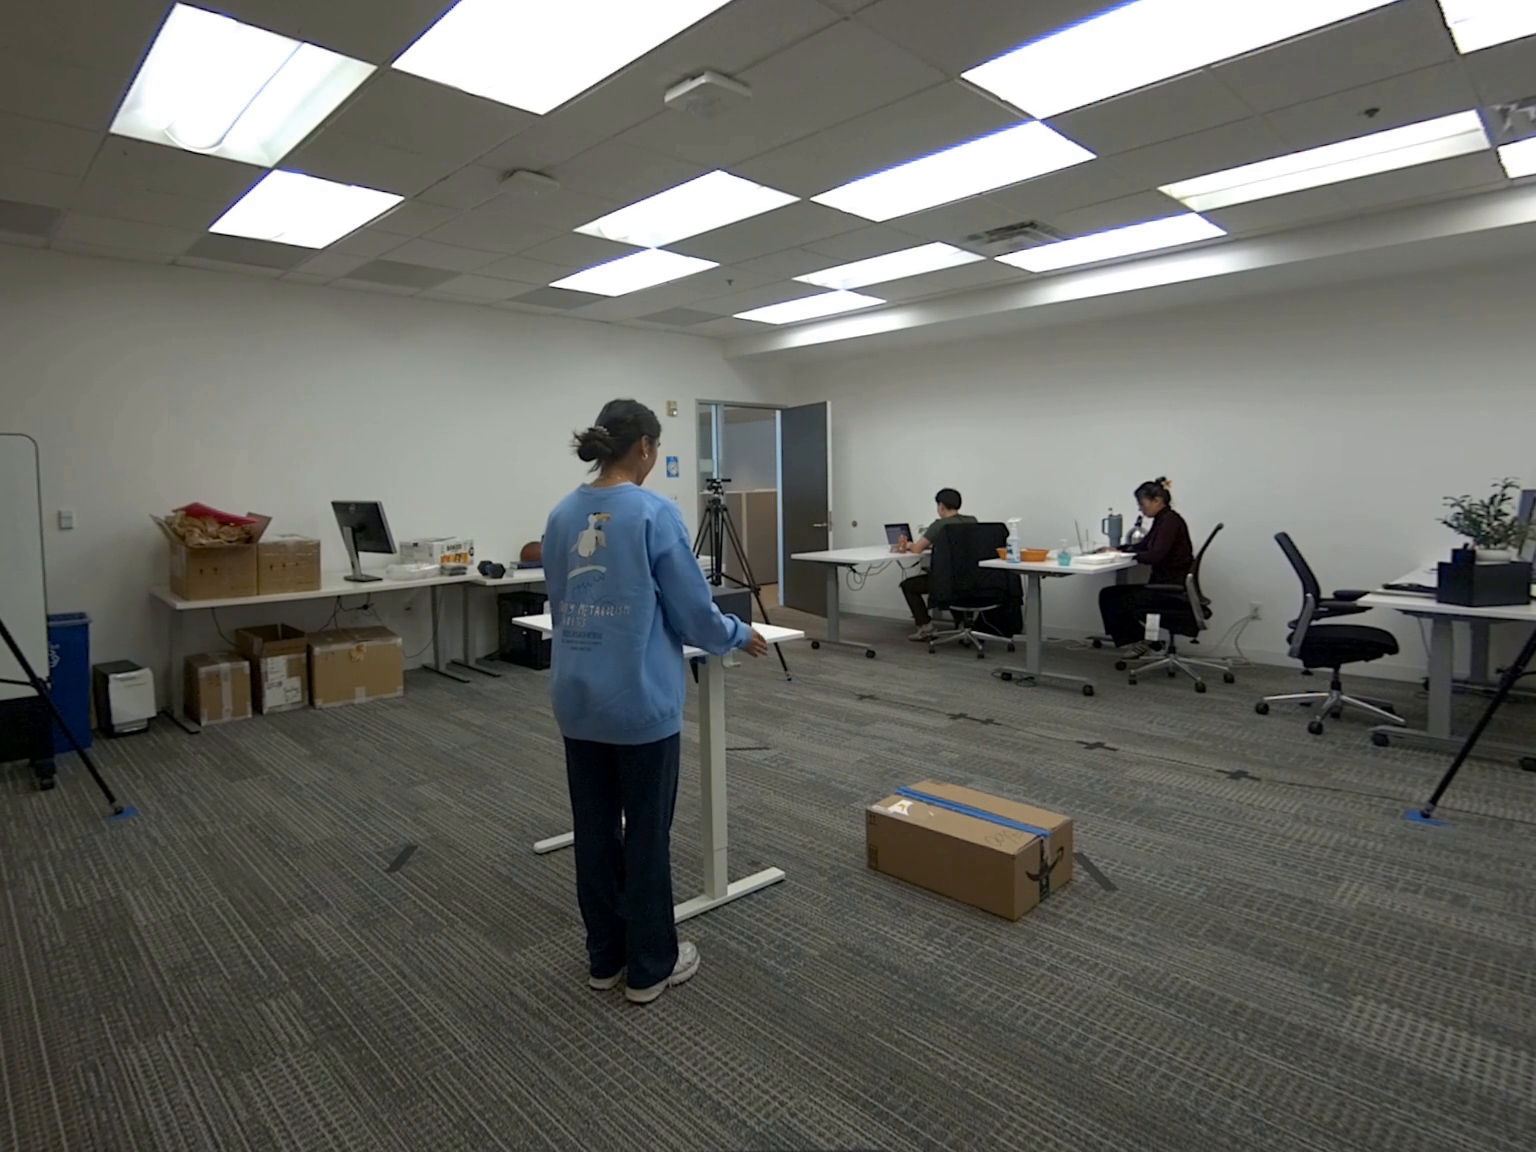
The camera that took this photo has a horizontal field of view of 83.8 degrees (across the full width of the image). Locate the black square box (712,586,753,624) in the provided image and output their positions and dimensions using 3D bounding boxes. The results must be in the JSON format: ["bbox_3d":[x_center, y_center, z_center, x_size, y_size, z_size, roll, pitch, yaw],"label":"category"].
[{"bbox_3d":[-0.200,0.127,2.756,0.223,0.155,0.222,3,7,44],"label":"black square box"}]
